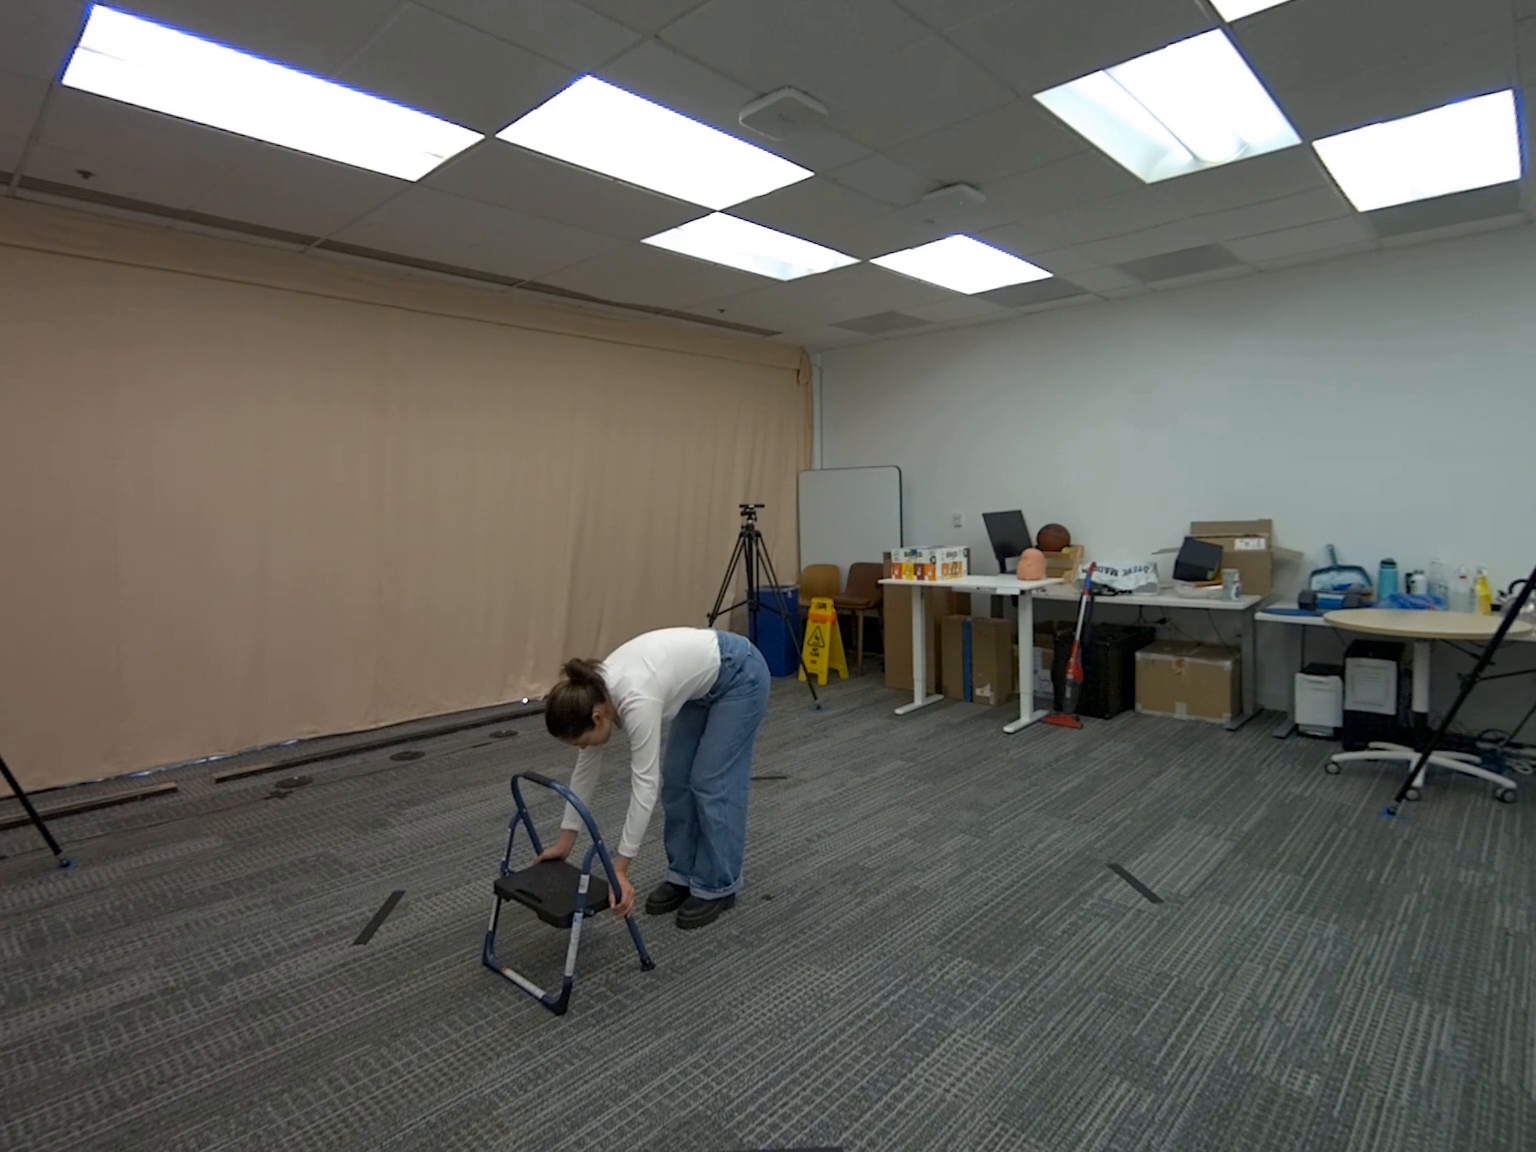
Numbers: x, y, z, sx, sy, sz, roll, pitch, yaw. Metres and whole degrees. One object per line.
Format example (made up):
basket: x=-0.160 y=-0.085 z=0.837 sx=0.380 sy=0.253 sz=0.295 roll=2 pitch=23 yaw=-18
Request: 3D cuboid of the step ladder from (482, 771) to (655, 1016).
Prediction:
step ladder: x=-0.621 y=0.887 z=2.550 sx=0.445 sy=0.605 sz=0.339 roll=2 pitch=5 yaw=42
